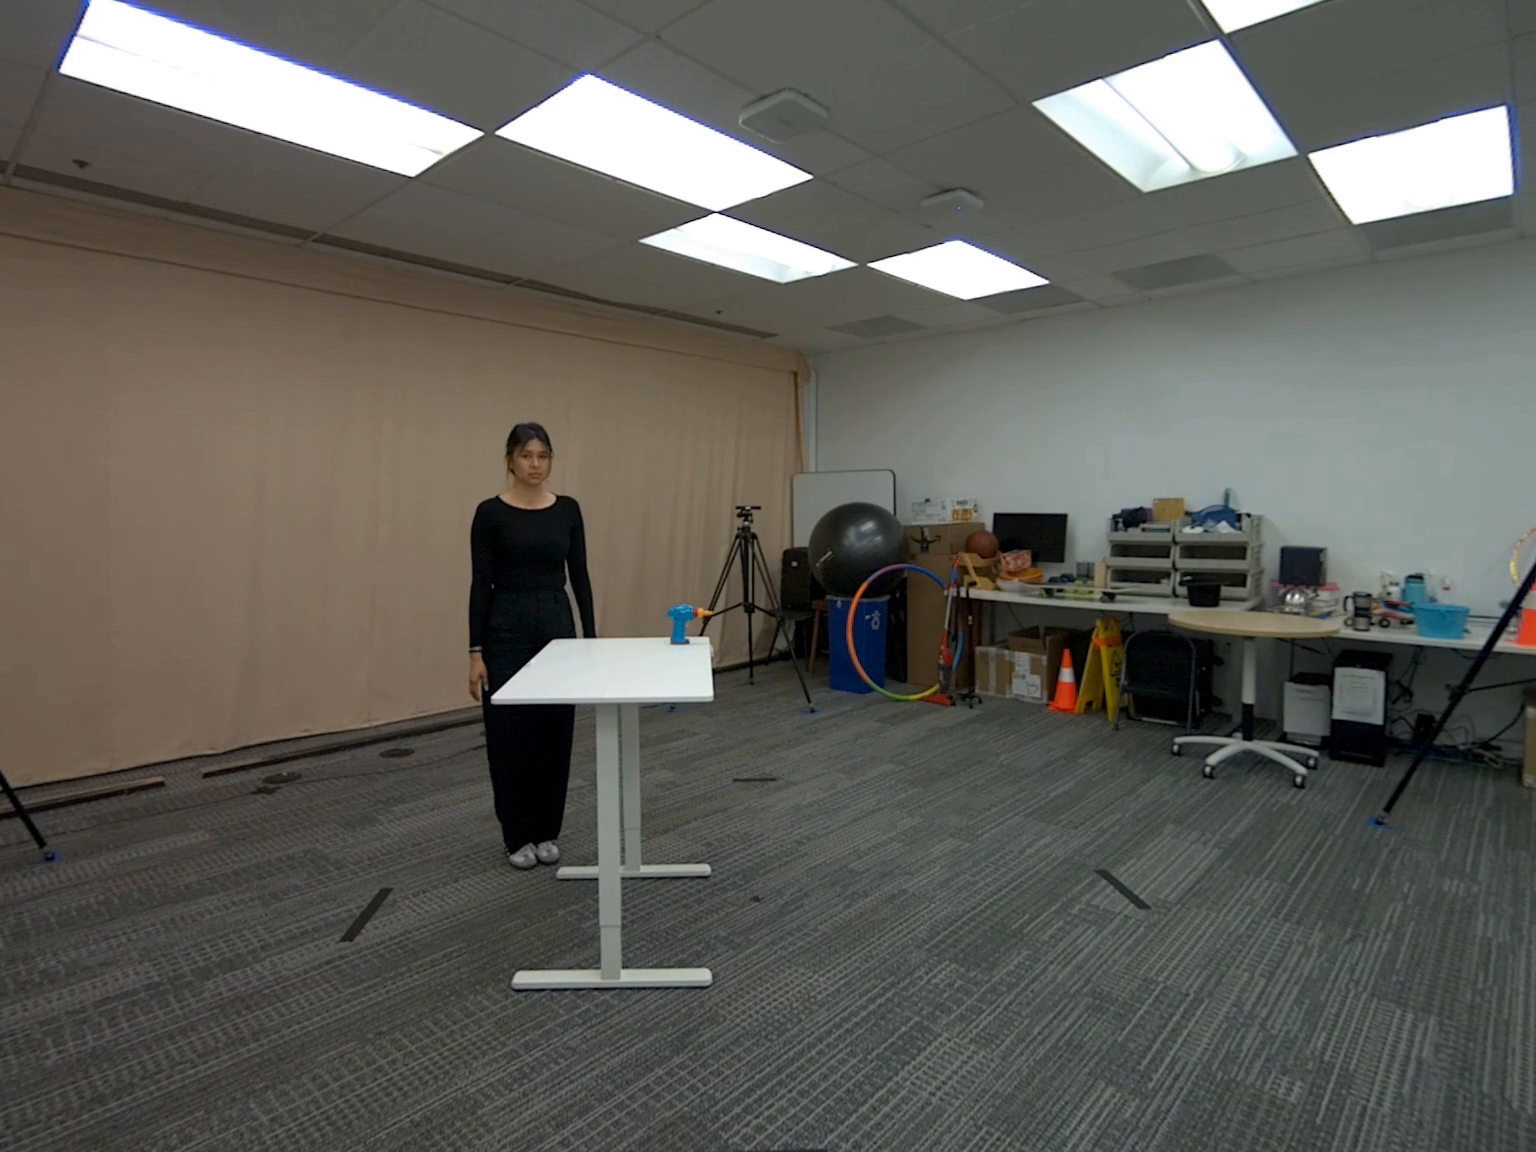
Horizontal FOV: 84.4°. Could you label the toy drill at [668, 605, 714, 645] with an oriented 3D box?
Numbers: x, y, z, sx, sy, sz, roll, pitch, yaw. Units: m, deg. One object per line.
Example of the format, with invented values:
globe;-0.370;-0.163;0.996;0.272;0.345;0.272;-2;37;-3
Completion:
toy drill;-0.284;0.178;3.118;0.170;0.145;0.061;-3;5;0
